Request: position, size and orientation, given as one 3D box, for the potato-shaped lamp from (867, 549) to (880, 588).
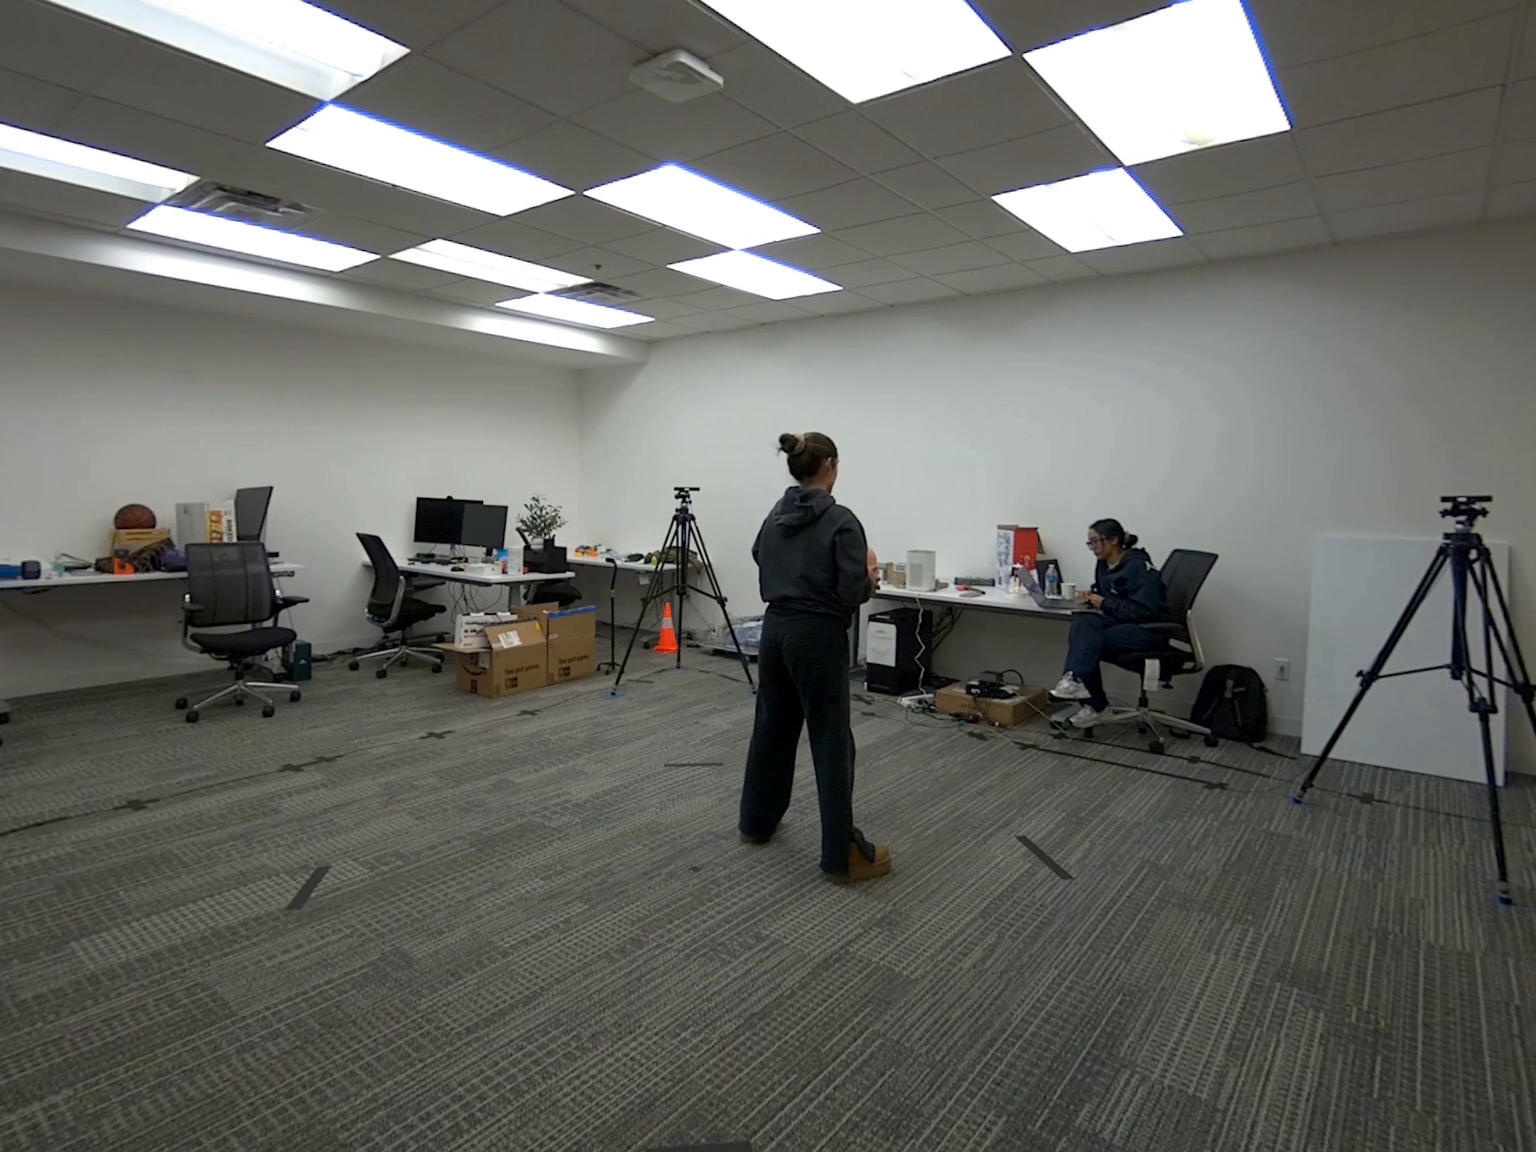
[{"bbox_3d":[0.353,-0.029,3.358,0.165,0.198,0.171,10,2,-40],"label":"potato-shaped lamp"}]
